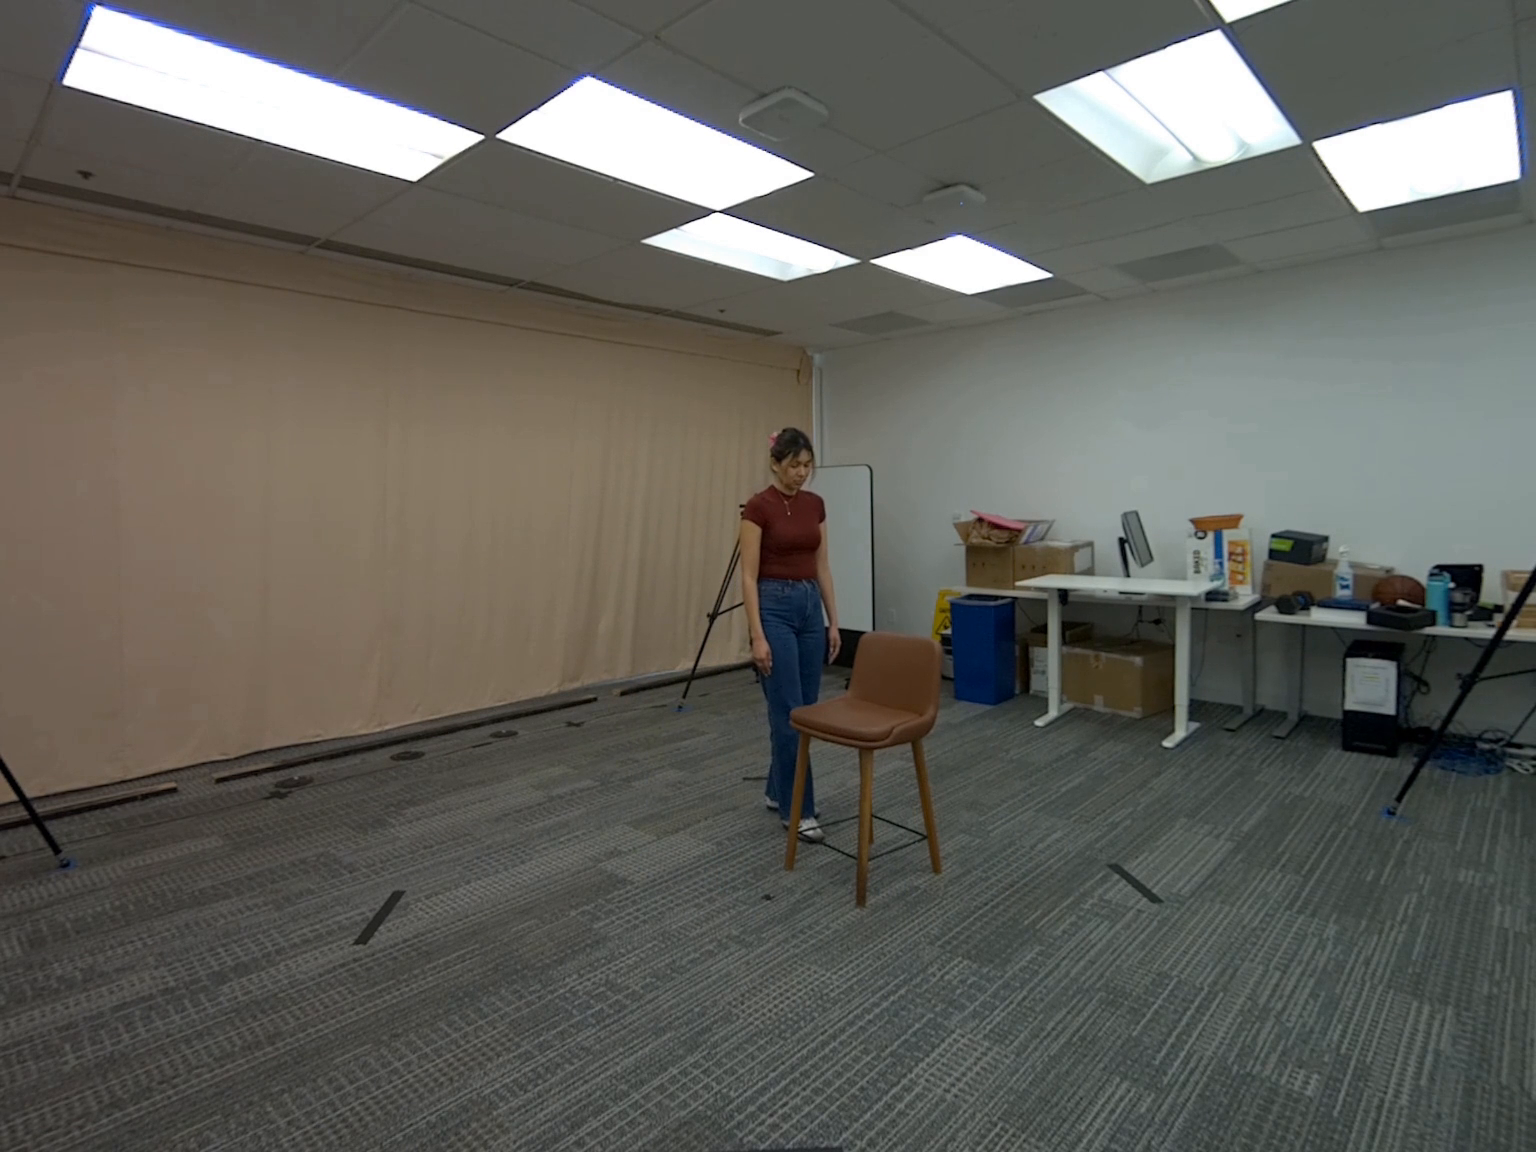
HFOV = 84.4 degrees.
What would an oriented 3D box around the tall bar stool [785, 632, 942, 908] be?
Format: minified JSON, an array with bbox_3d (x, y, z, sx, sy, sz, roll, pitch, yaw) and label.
[{"bbox_3d":[0.370,0.682,3.161,0.453,0.888,0.471,-1,3,-38],"label":"tall bar stool"}]
